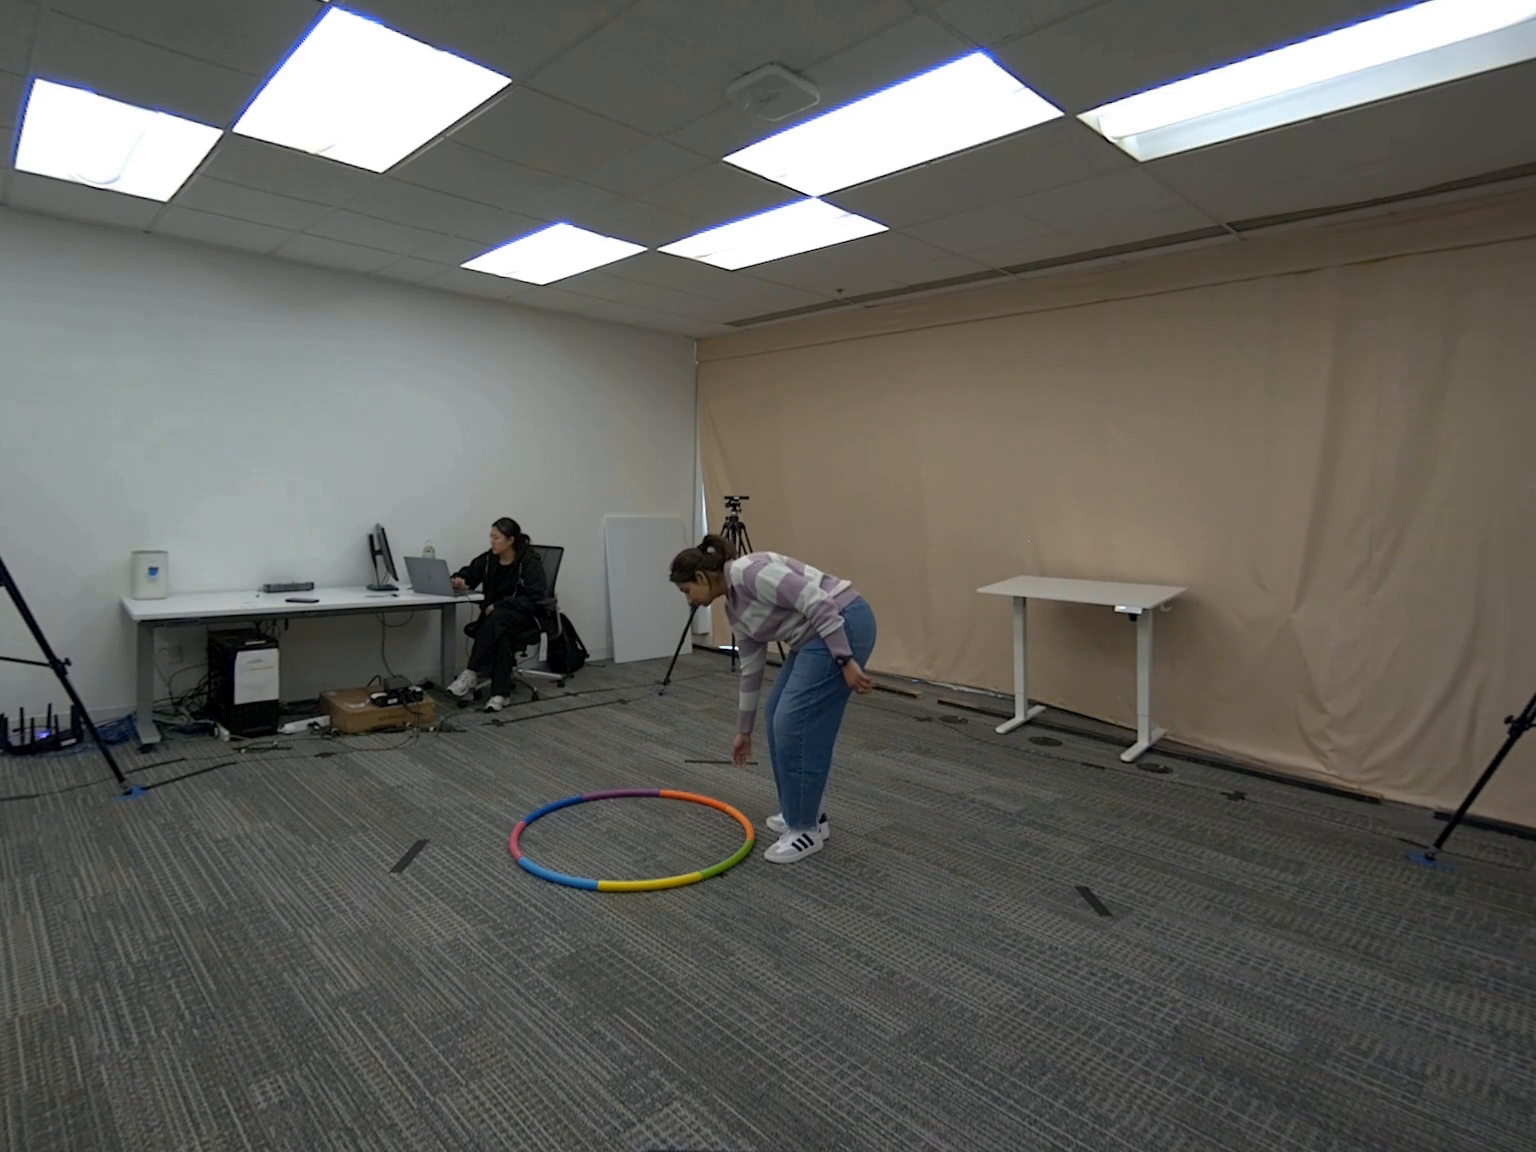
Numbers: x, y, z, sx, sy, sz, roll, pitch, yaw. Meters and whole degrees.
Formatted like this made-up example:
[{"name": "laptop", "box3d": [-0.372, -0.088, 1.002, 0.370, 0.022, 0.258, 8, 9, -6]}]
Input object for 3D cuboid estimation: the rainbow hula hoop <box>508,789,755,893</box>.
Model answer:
[{"name": "rainbow hula hoop", "box3d": [-0.546, 1.037, 3.427, 0.978, 0.035, 0.982, 2, 5, -1]}]
